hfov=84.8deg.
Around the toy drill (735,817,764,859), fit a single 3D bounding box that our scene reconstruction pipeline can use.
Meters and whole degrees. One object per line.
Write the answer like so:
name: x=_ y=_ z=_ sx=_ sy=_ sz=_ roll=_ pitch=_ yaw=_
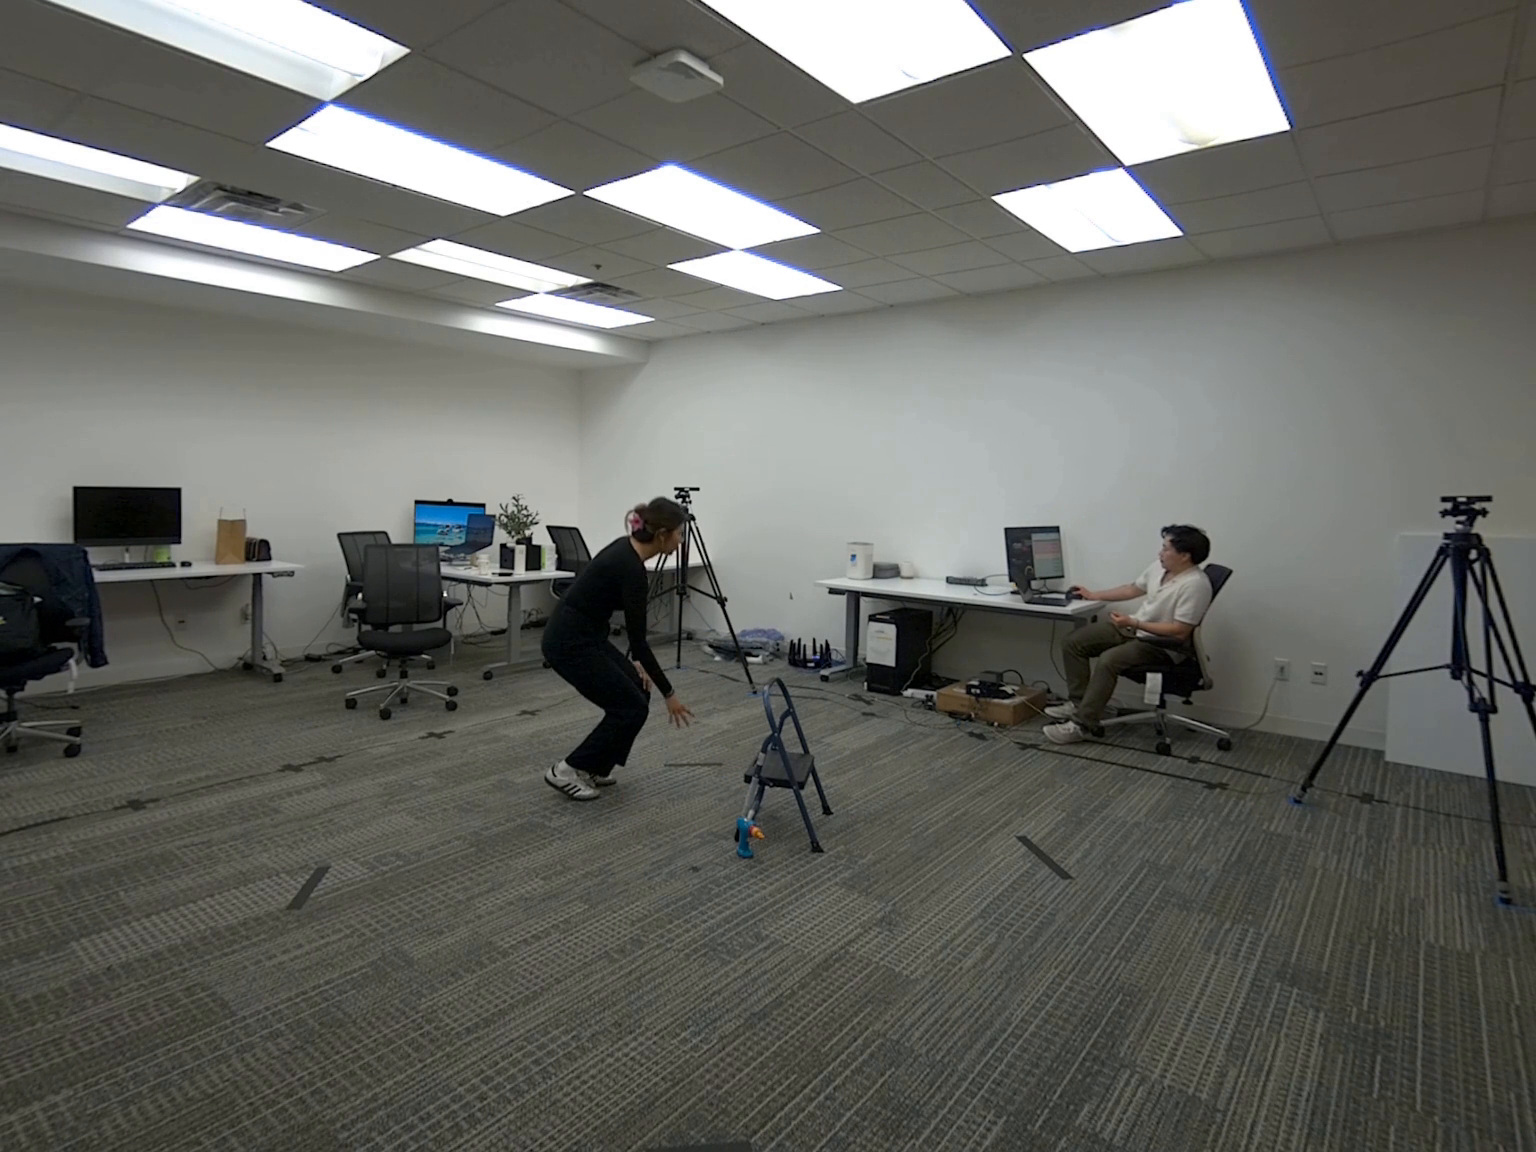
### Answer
toy drill: x=-0.078 y=0.990 z=3.197 sx=0.059 sy=0.145 sz=0.175 roll=-1 pitch=6 yaw=-32
